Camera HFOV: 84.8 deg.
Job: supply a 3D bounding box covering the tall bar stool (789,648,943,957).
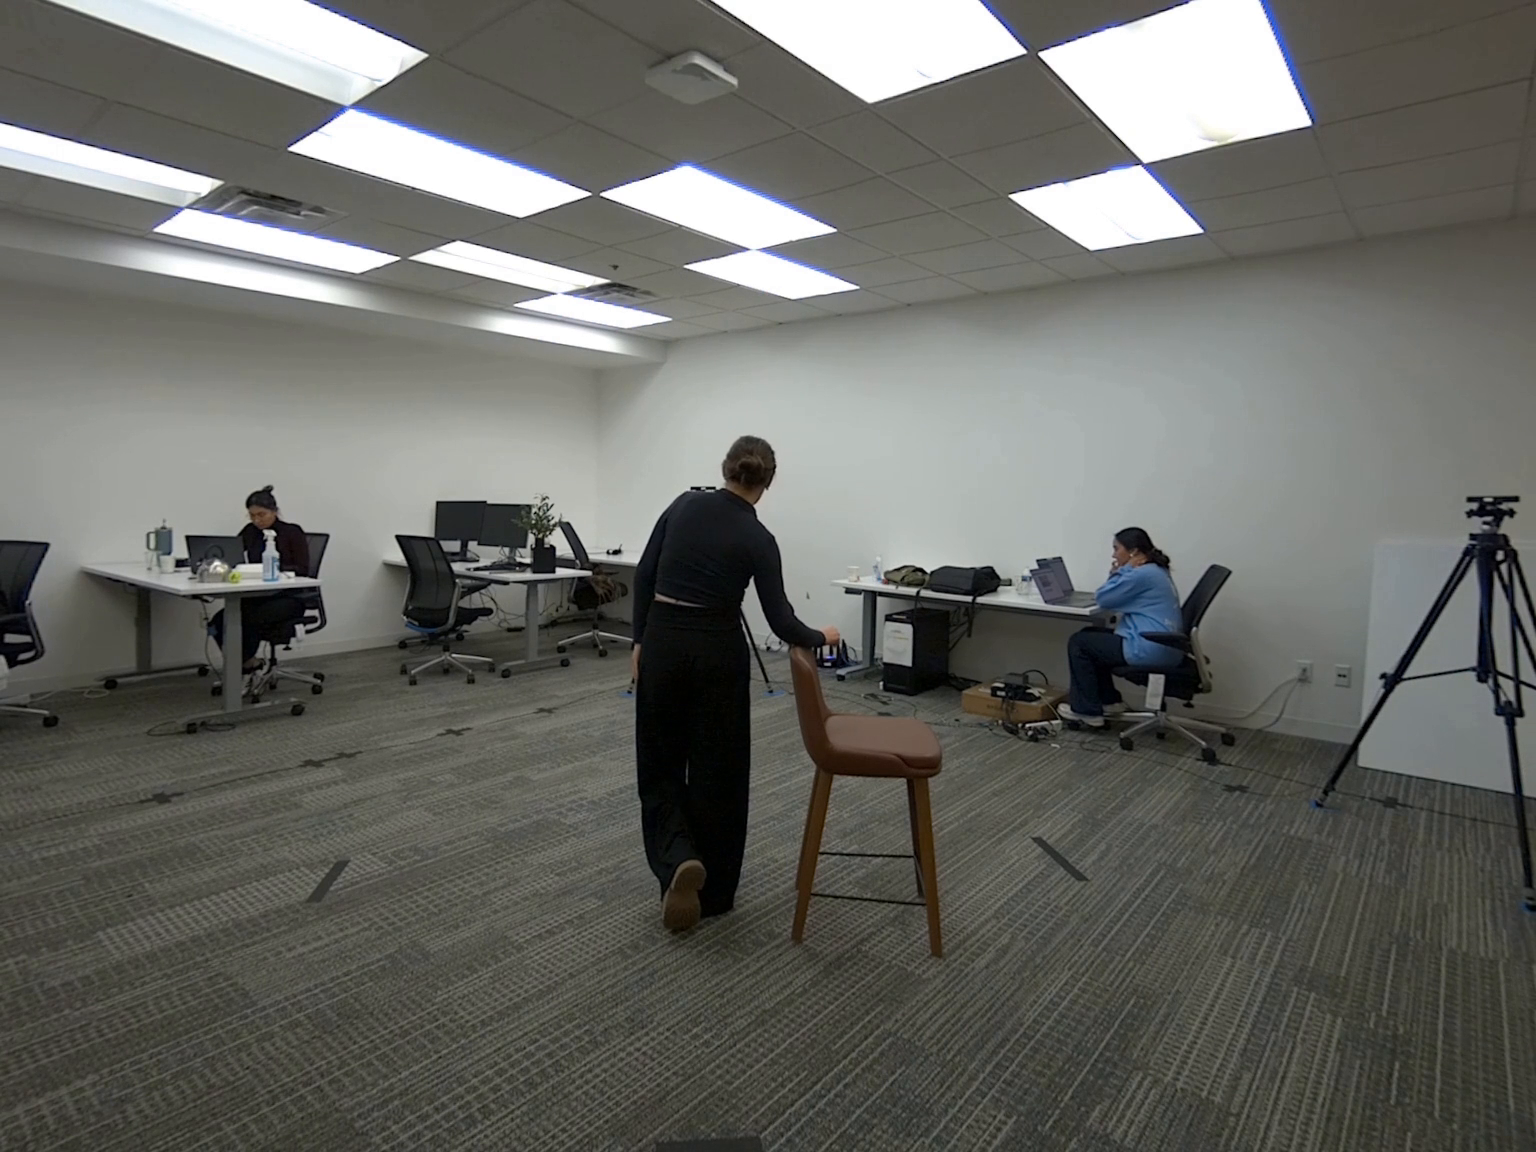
[{"bbox_3d":[0.310,0.677,2.742,0.471,0.887,0.454,0,3,6],"label":"tall bar stool"}]
